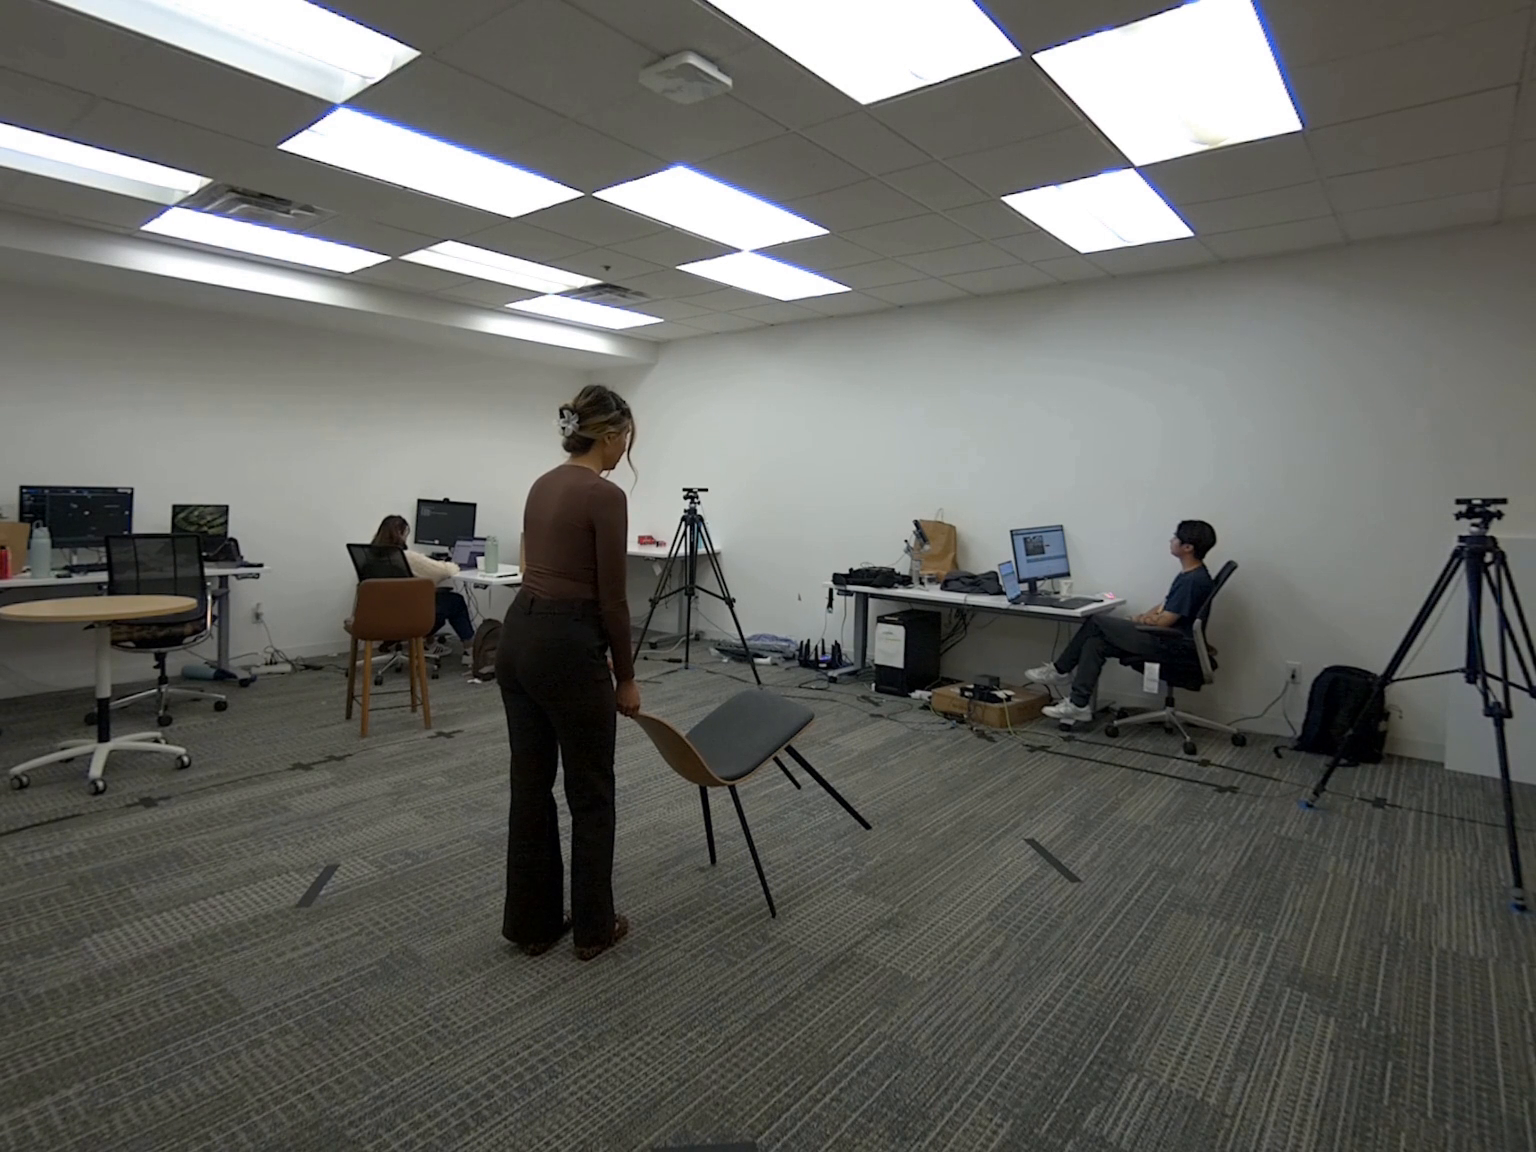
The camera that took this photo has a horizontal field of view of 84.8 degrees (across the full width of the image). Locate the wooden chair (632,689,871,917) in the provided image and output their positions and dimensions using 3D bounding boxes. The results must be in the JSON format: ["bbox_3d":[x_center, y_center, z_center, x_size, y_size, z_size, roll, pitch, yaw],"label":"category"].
[{"bbox_3d":[-0.115,0.601,2.923,0.520,0.856,0.492,-39,20,-21],"label":"wooden chair"}]
